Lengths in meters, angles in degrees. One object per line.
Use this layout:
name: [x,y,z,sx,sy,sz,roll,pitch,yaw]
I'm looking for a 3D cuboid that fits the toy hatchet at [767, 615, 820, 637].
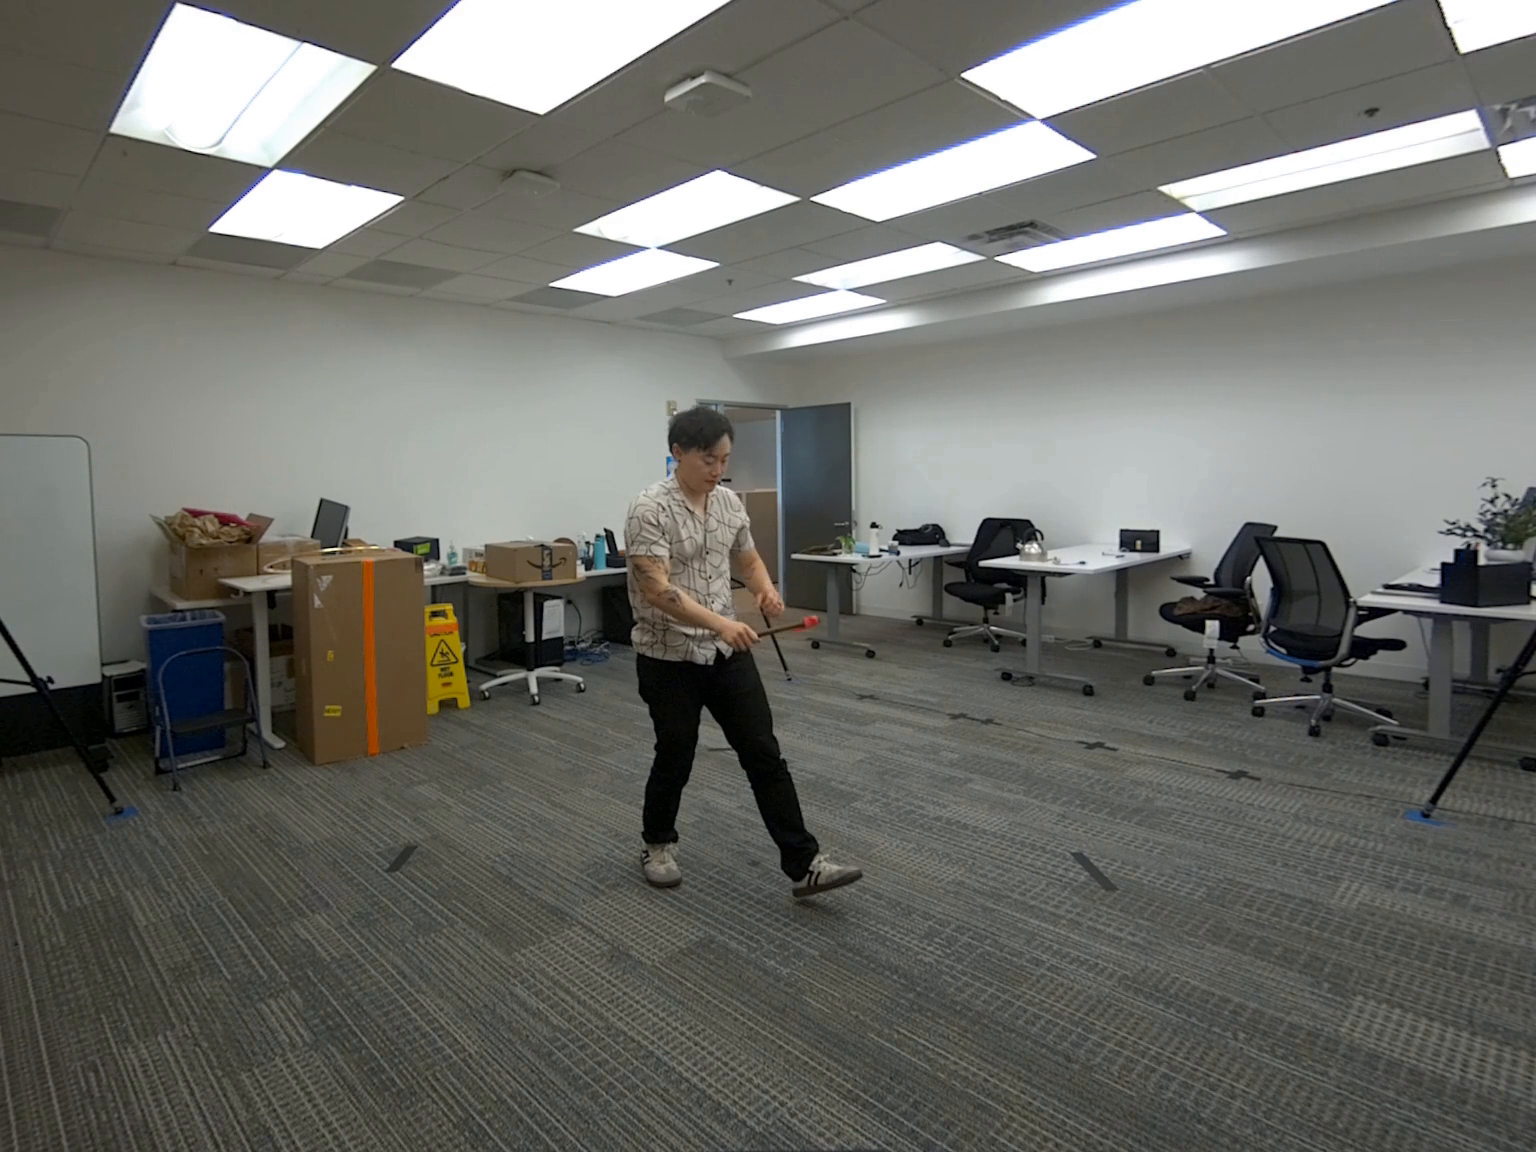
toy hatchet: [0.024,0.173,2.571,0.273,0.030,0.128,-14,-11,14]
